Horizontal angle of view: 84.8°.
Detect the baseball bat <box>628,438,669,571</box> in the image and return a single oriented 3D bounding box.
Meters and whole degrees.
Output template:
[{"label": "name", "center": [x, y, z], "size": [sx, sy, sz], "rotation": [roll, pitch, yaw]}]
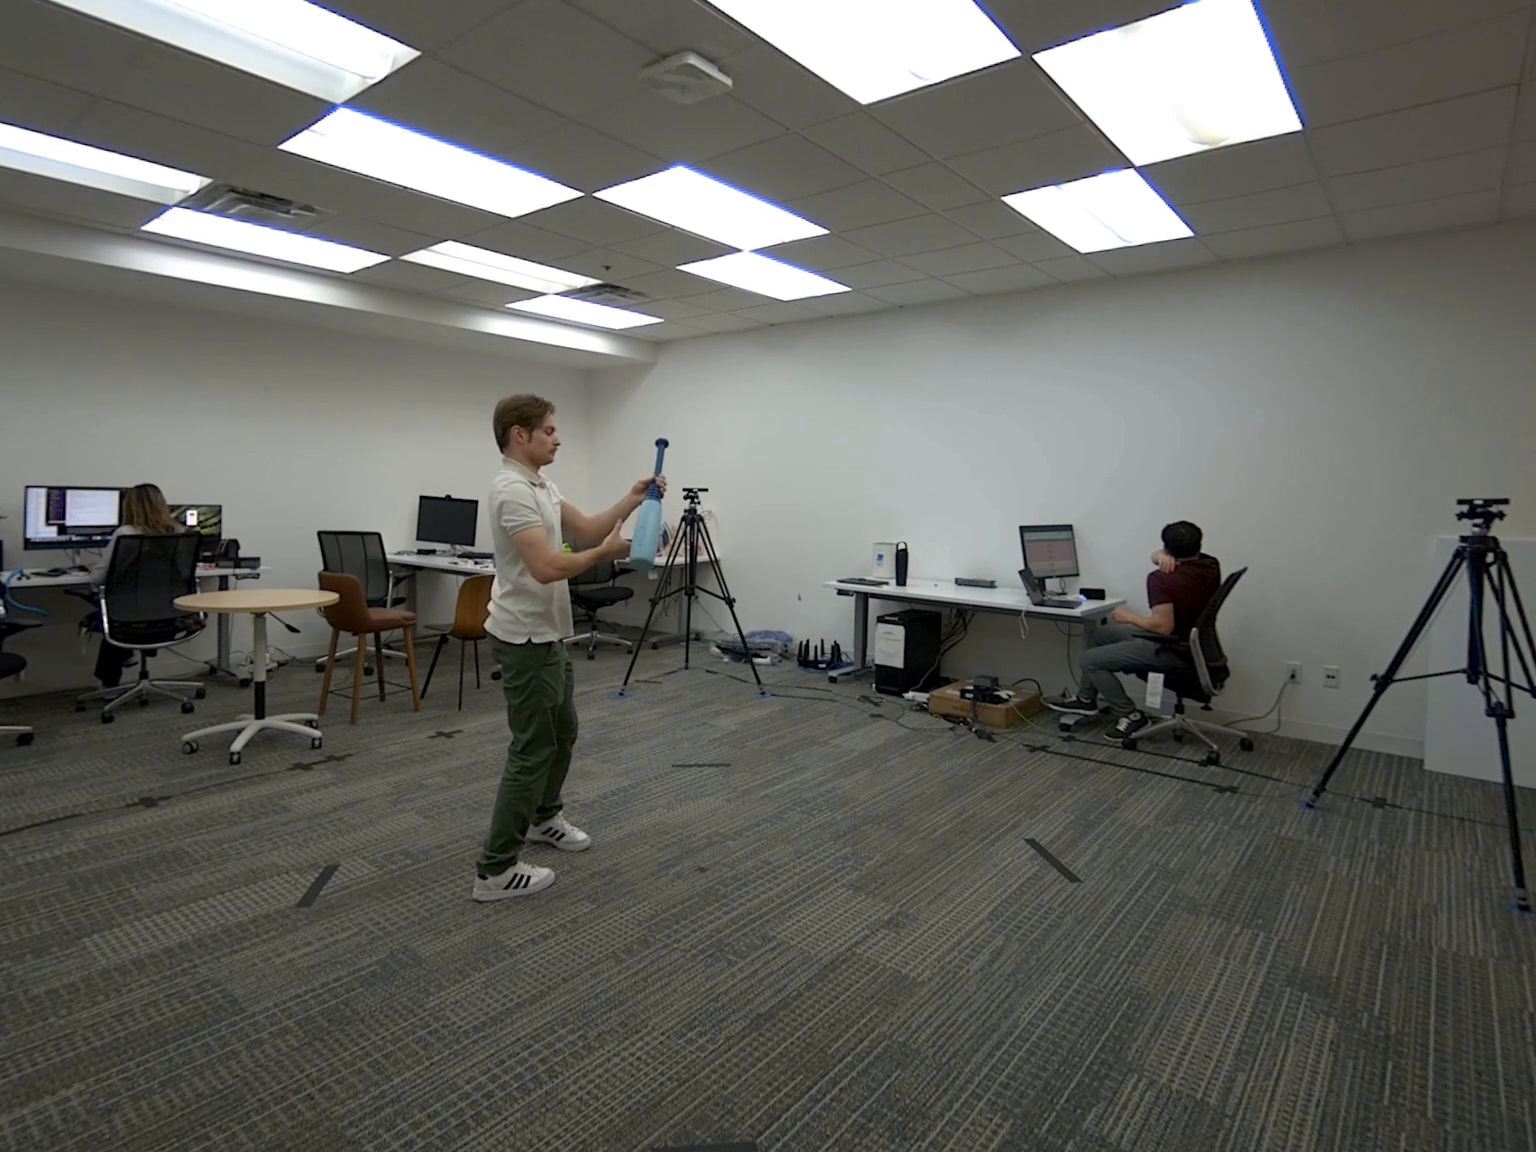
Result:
[{"label": "baseball bat", "center": [-0.421, -0.261, 2.969], "size": [0.089, 0.555, 0.087], "rotation": [6, -32, 2]}]
